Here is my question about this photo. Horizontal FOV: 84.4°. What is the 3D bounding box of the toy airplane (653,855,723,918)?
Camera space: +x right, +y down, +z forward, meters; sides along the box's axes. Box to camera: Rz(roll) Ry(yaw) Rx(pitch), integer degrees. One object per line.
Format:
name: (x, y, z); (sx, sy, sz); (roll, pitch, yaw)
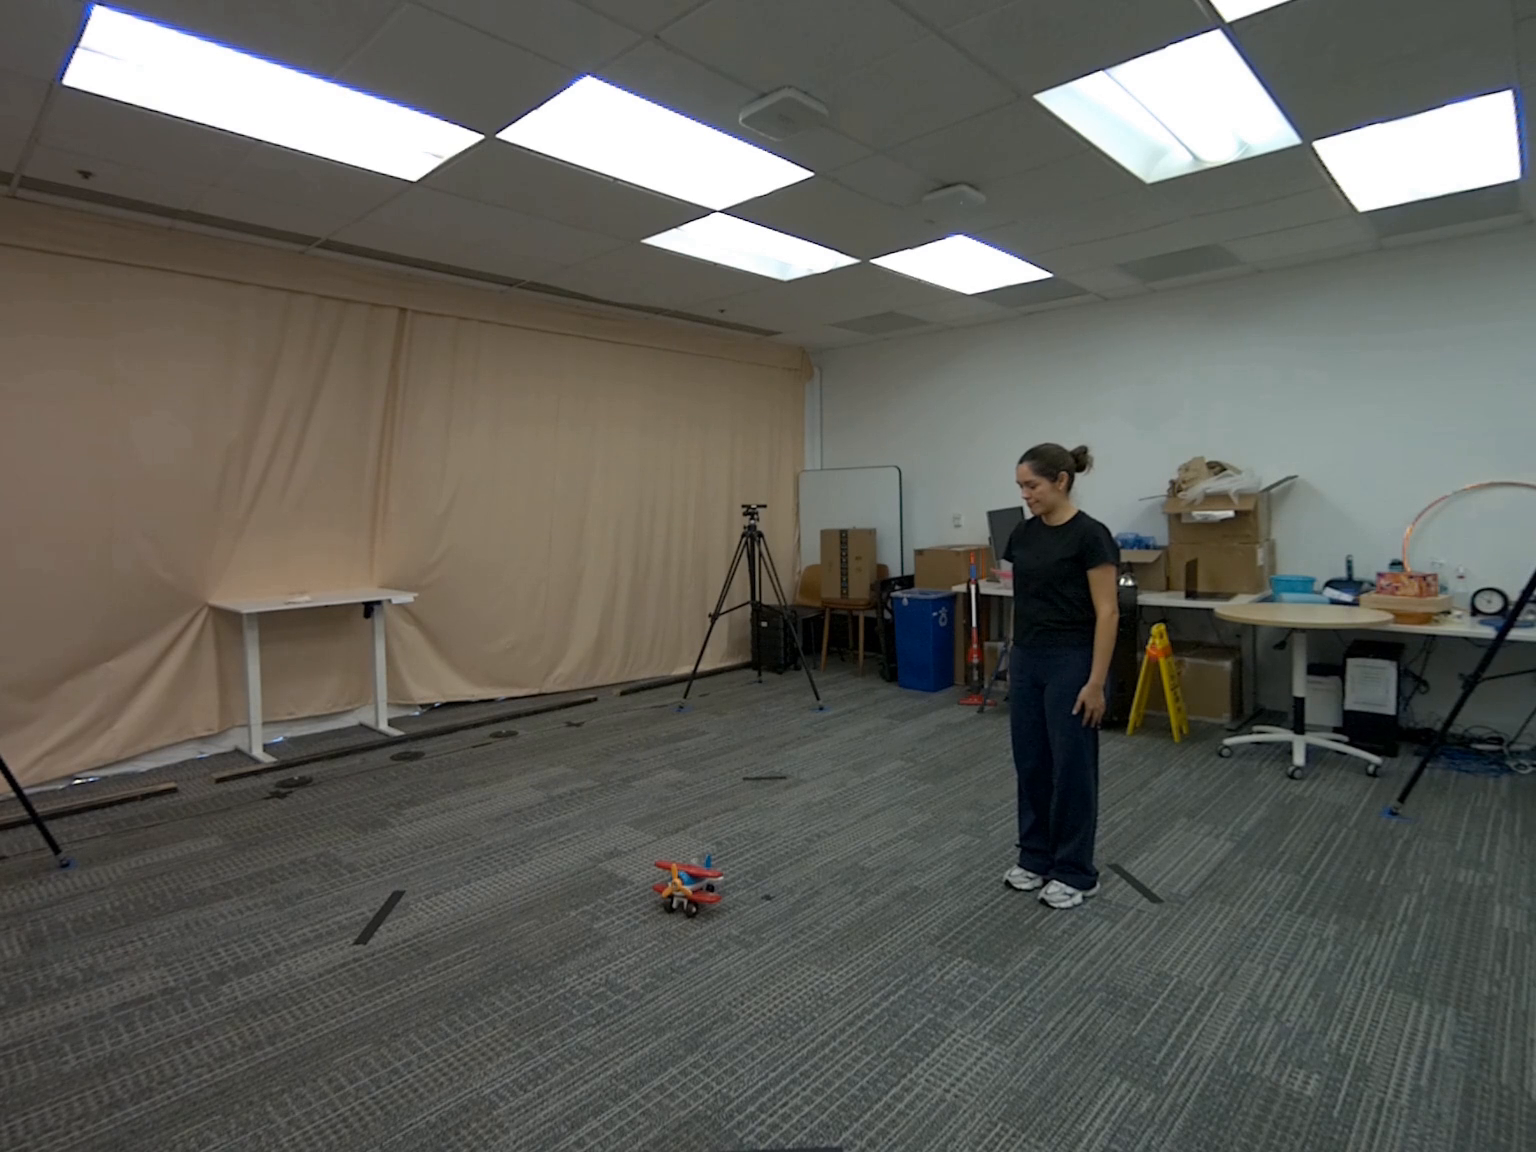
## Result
toy airplane: (-0.263, 1.078, 2.954); (0.251, 0.156, 0.261); (-2, 6, -3)
